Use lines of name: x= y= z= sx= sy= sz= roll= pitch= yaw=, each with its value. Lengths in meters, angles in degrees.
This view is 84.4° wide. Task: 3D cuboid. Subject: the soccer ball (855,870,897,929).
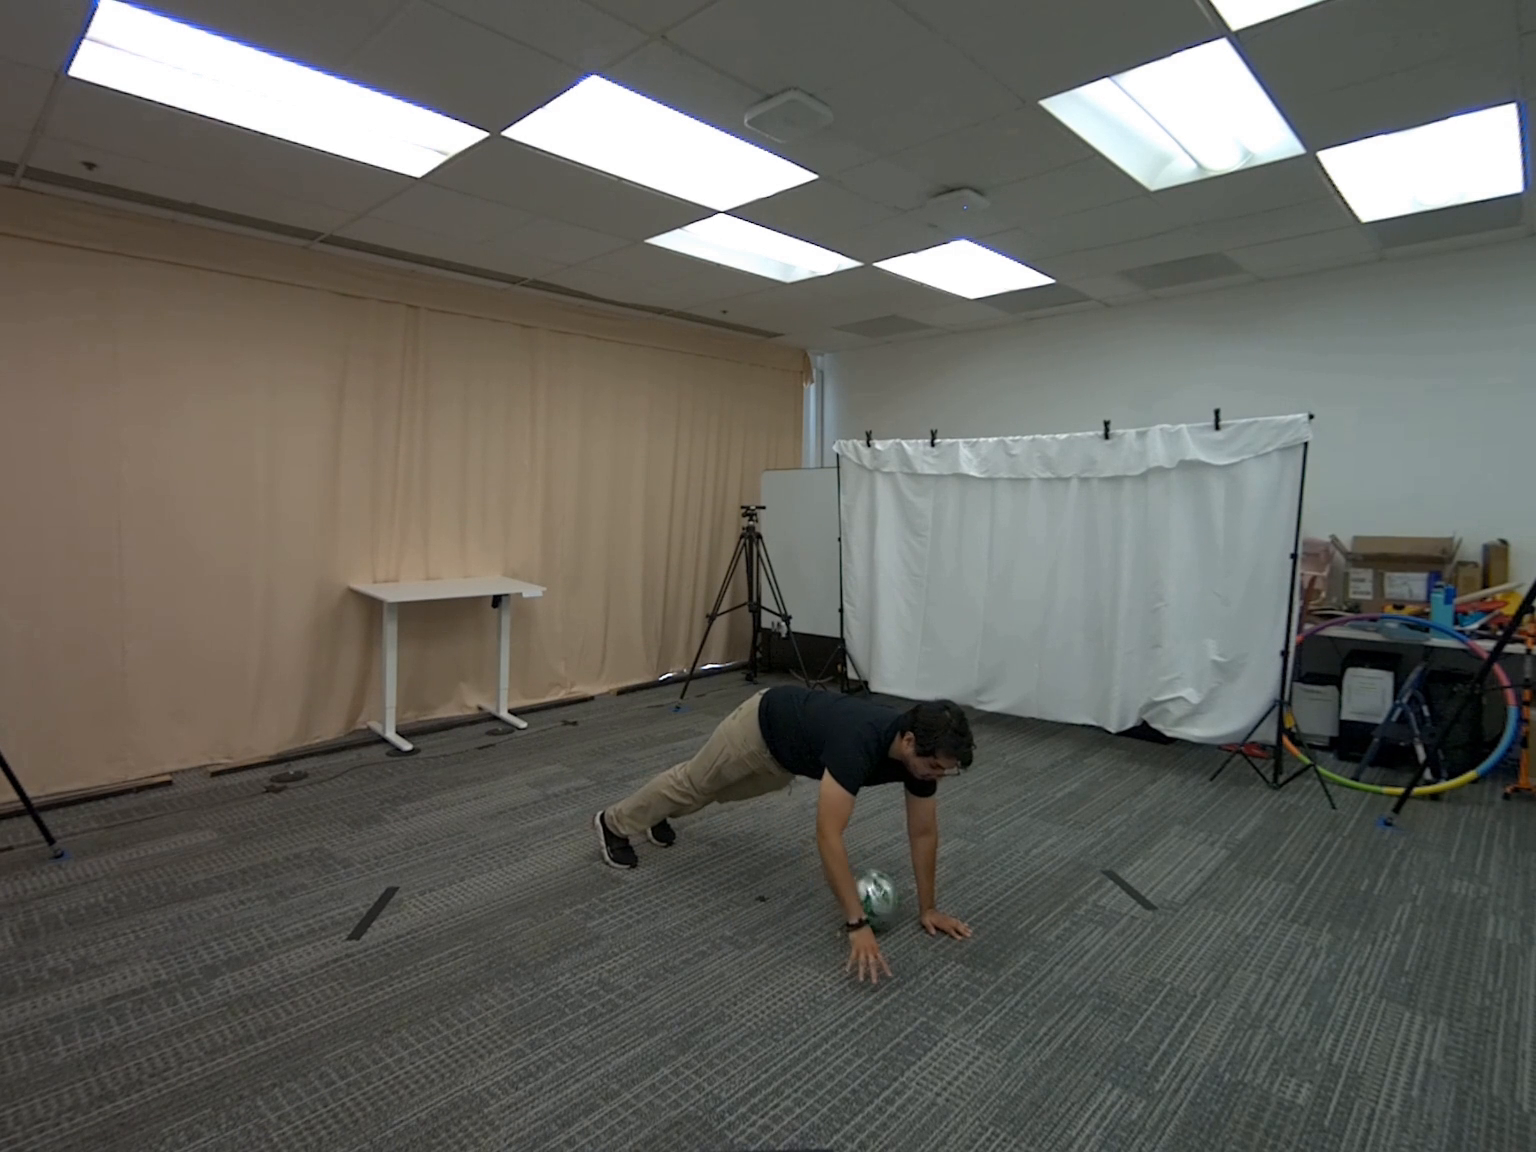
soccer ball: x=0.342 y=1.069 z=2.778 sx=0.187 sy=0.187 sz=0.188 roll=0 pitch=4 yaw=-2
